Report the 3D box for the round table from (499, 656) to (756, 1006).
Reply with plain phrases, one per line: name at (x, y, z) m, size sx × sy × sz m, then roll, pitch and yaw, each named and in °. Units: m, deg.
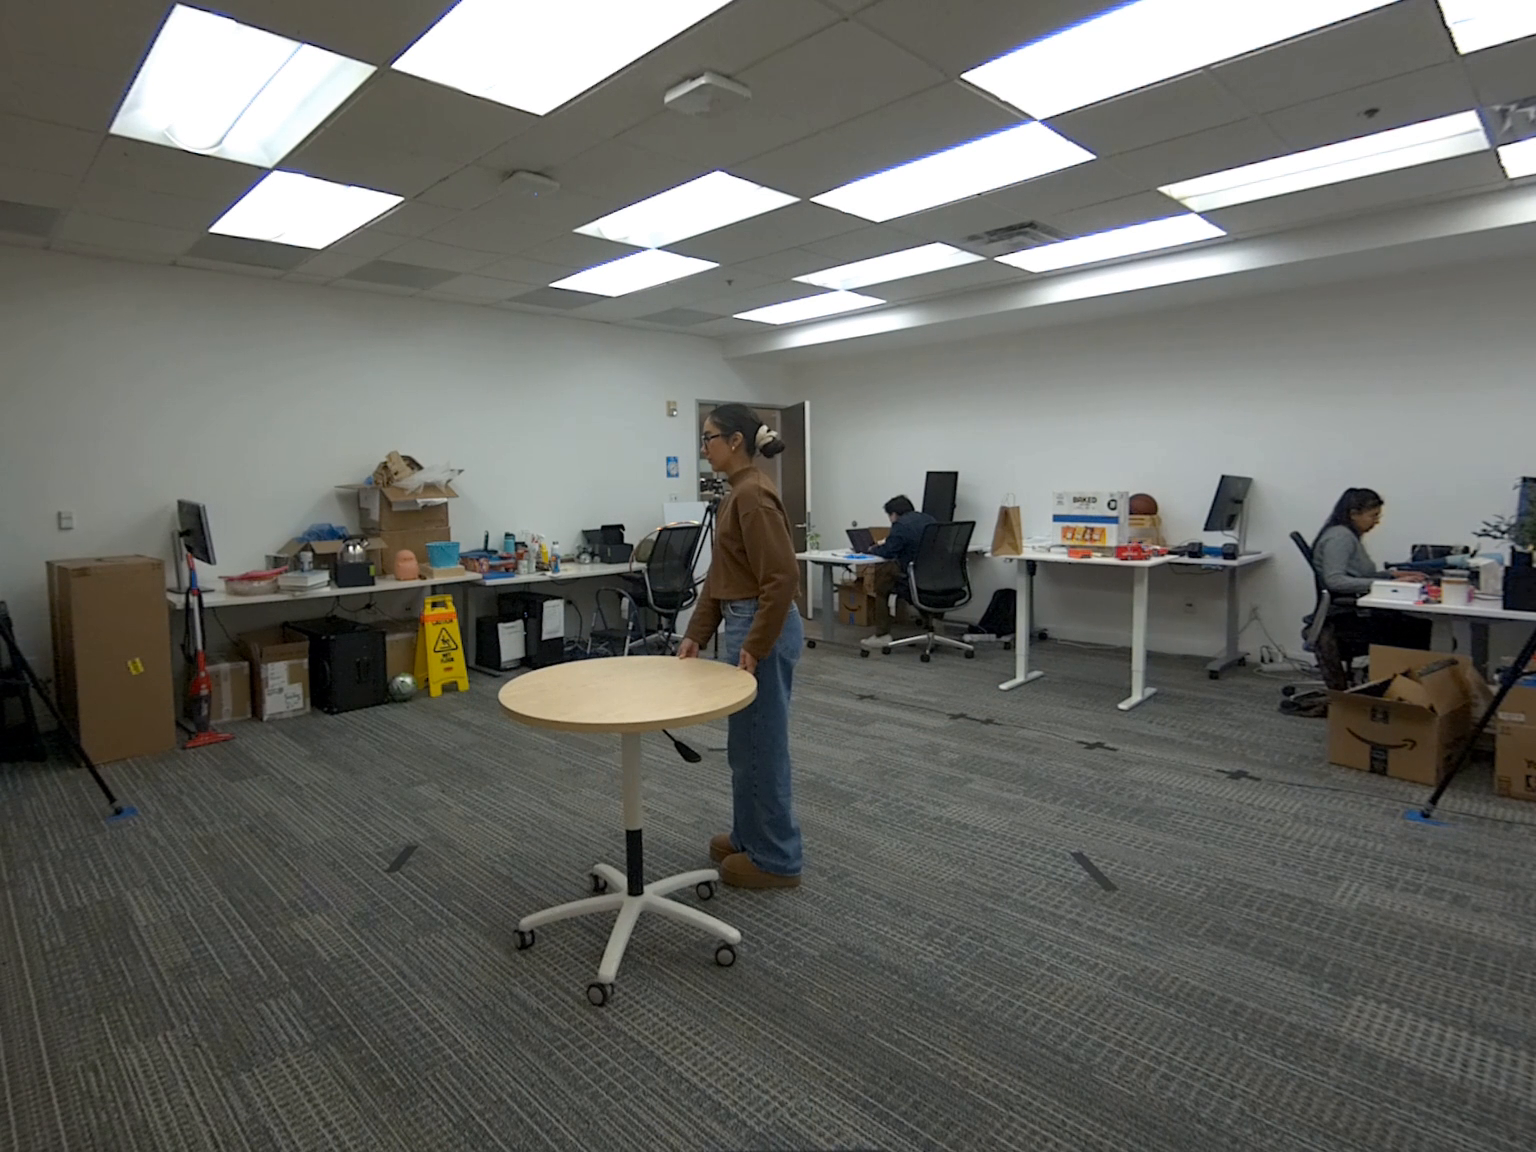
round table at (-0.414, 0.715, 2.612) m, size 0.784 × 0.782 × 0.790 m, roll -1°, pitch 6°, yaw -2°
